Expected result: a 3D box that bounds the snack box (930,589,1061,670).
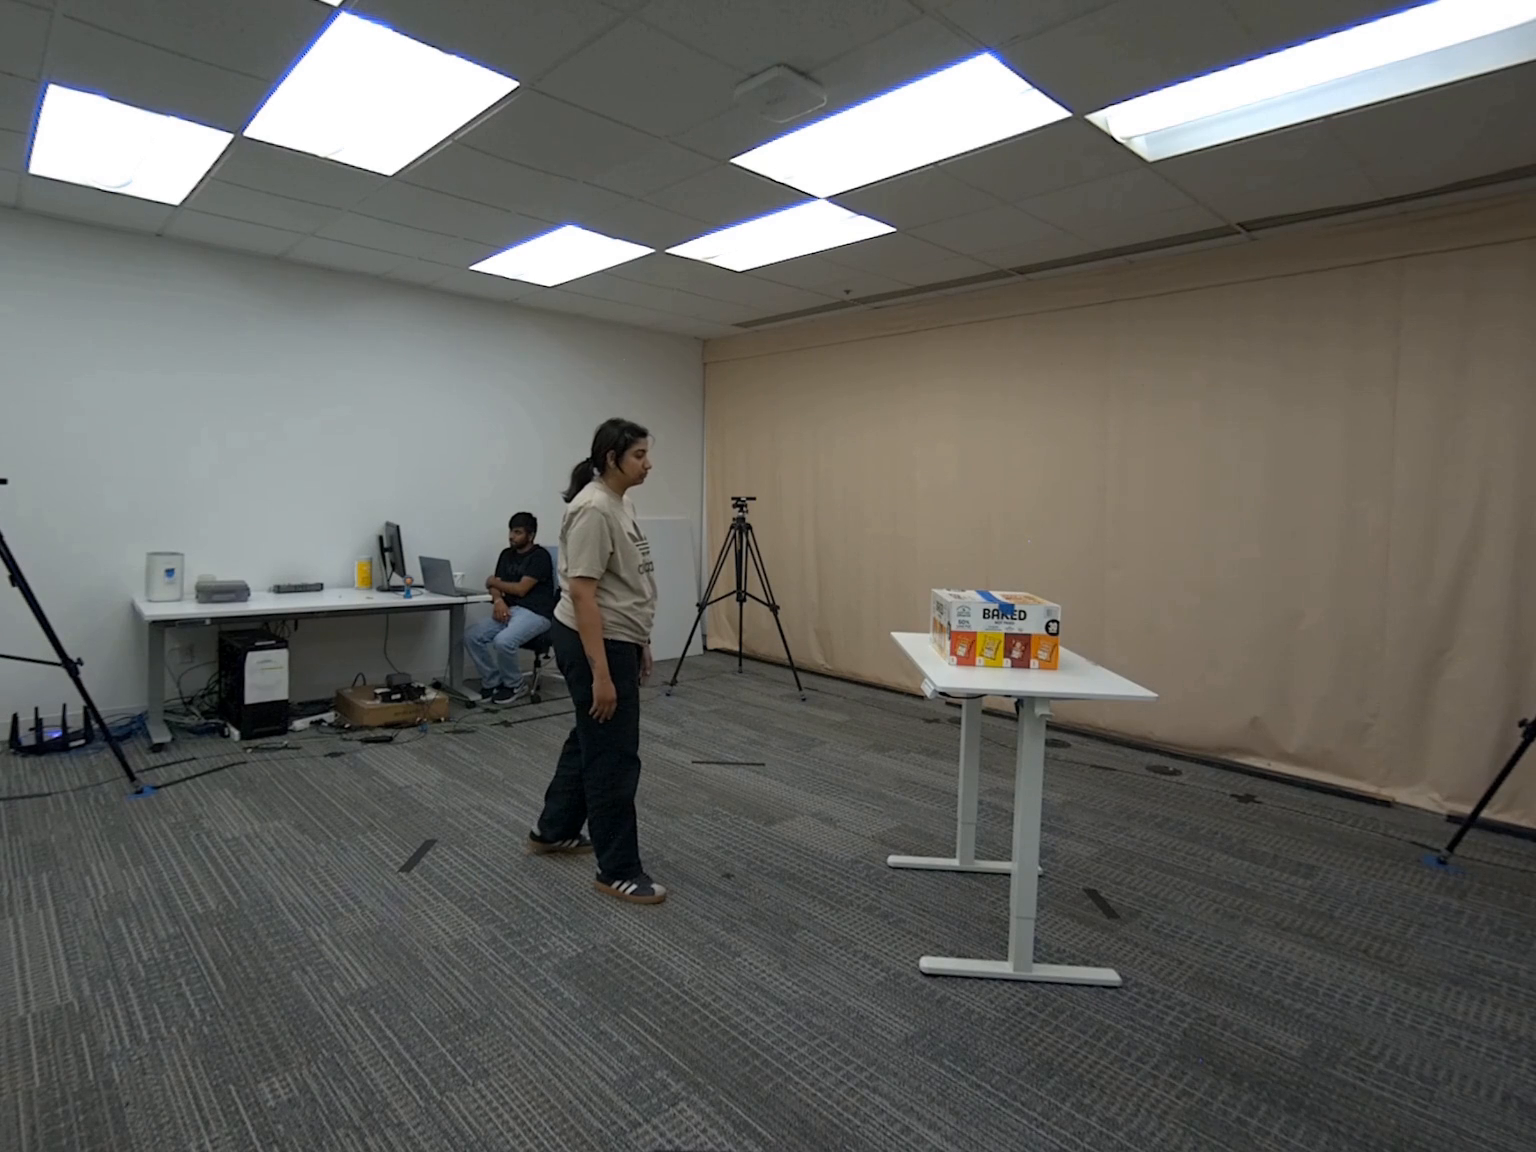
[{"bbox_3d":[0.741,0.172,2.837,0.341,0.205,0.405,2,4,3],"label":"snack box"}]
